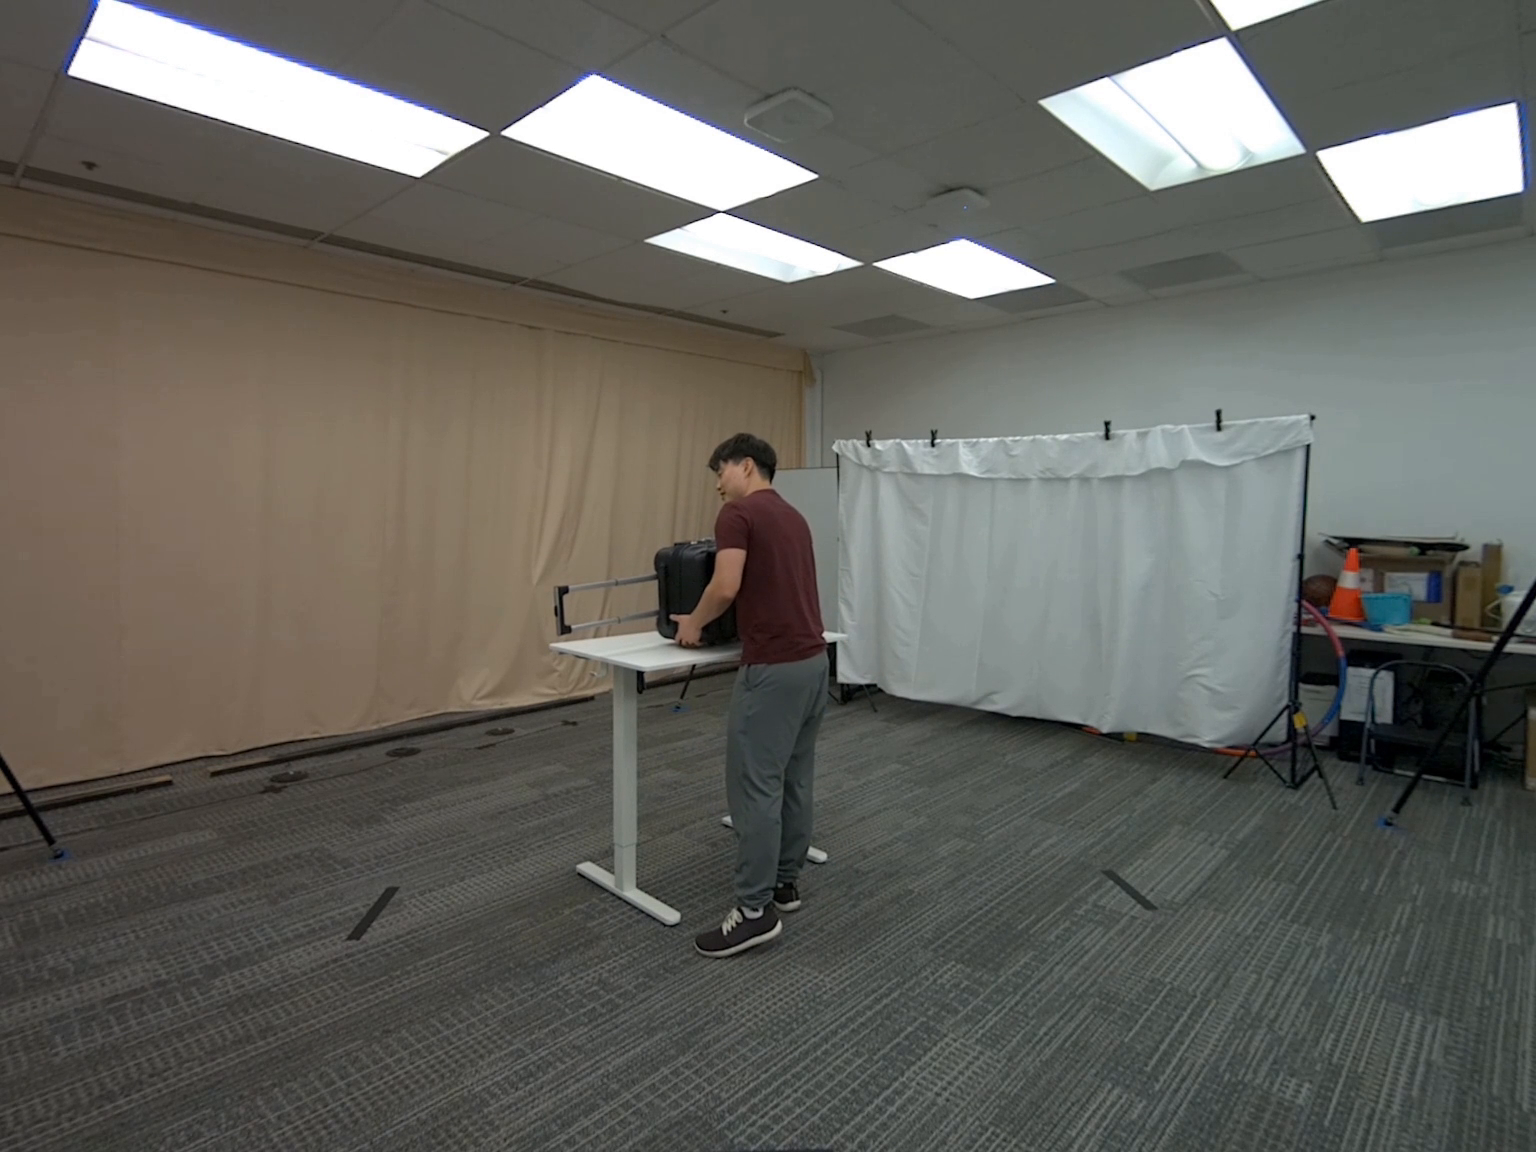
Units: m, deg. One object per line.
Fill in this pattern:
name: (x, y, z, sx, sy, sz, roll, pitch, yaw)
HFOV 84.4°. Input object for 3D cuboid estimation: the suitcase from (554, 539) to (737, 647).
suitcase: (-0.311, 0.072, 3.042, 0.265, 0.383, 0.949, 2, 5, 40)
